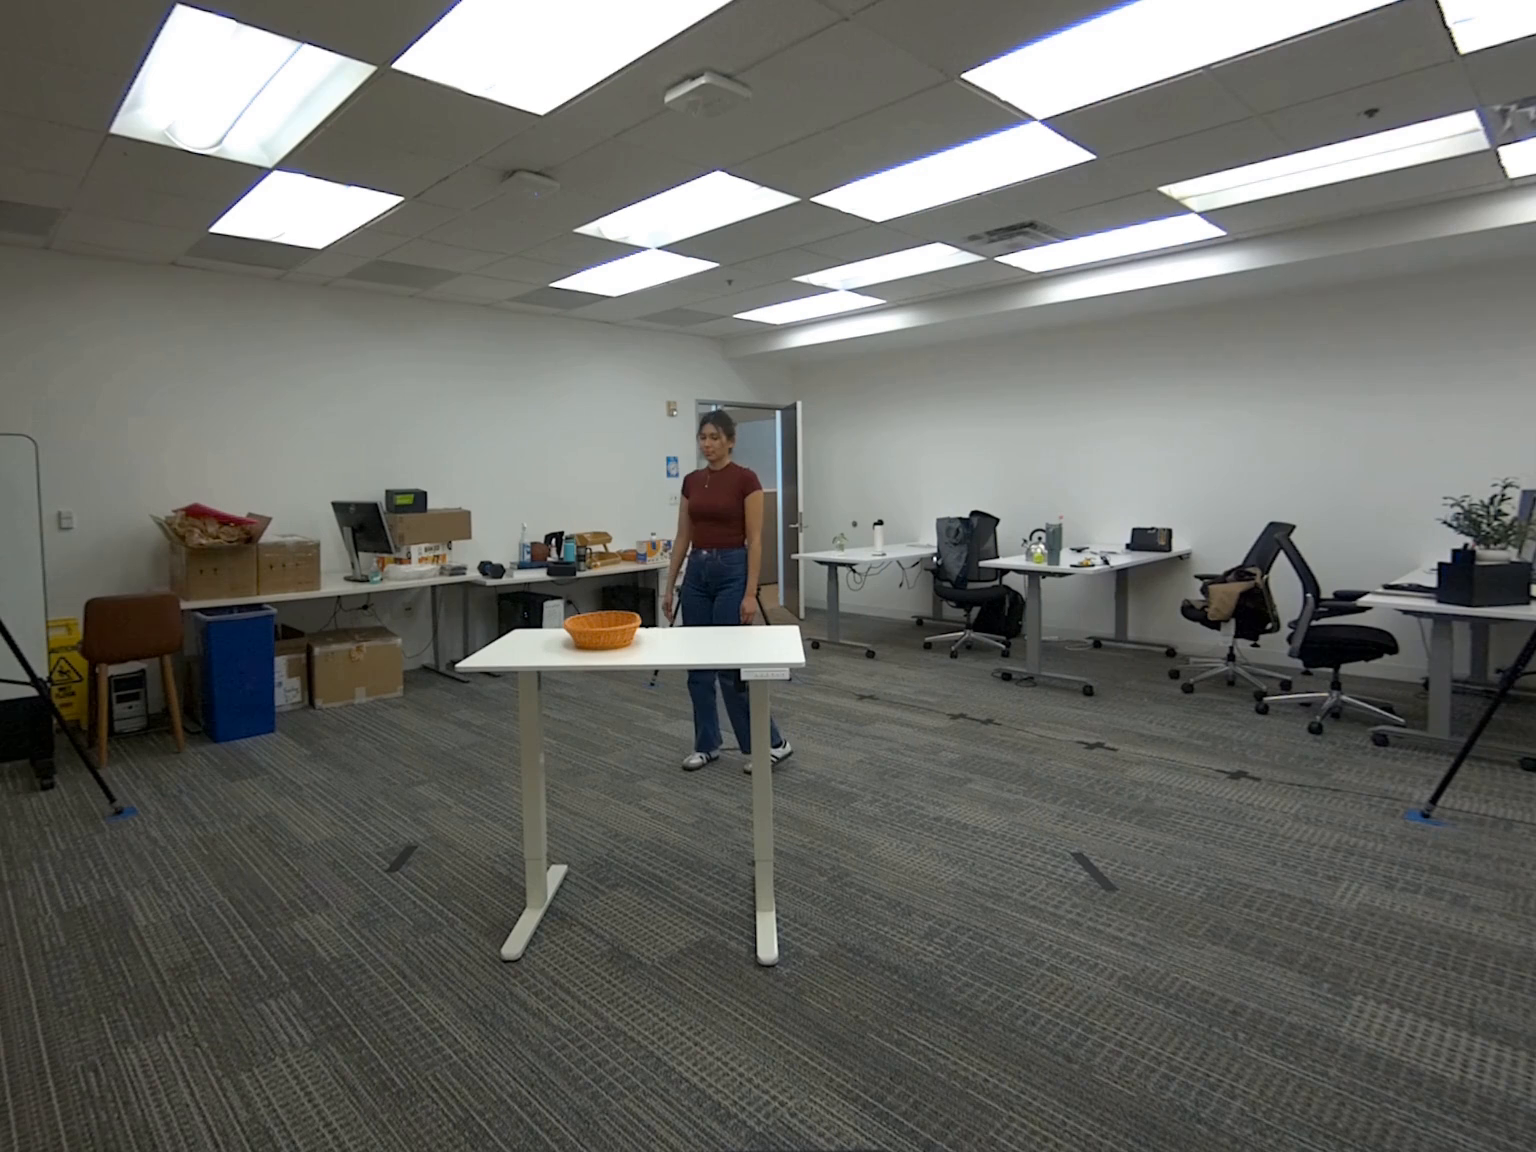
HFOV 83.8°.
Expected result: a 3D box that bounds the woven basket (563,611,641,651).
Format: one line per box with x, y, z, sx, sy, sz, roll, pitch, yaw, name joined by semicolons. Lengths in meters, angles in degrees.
-0.537;0.183;2.757;0.251;0.073;0.354;-3;6;-6;woven basket
